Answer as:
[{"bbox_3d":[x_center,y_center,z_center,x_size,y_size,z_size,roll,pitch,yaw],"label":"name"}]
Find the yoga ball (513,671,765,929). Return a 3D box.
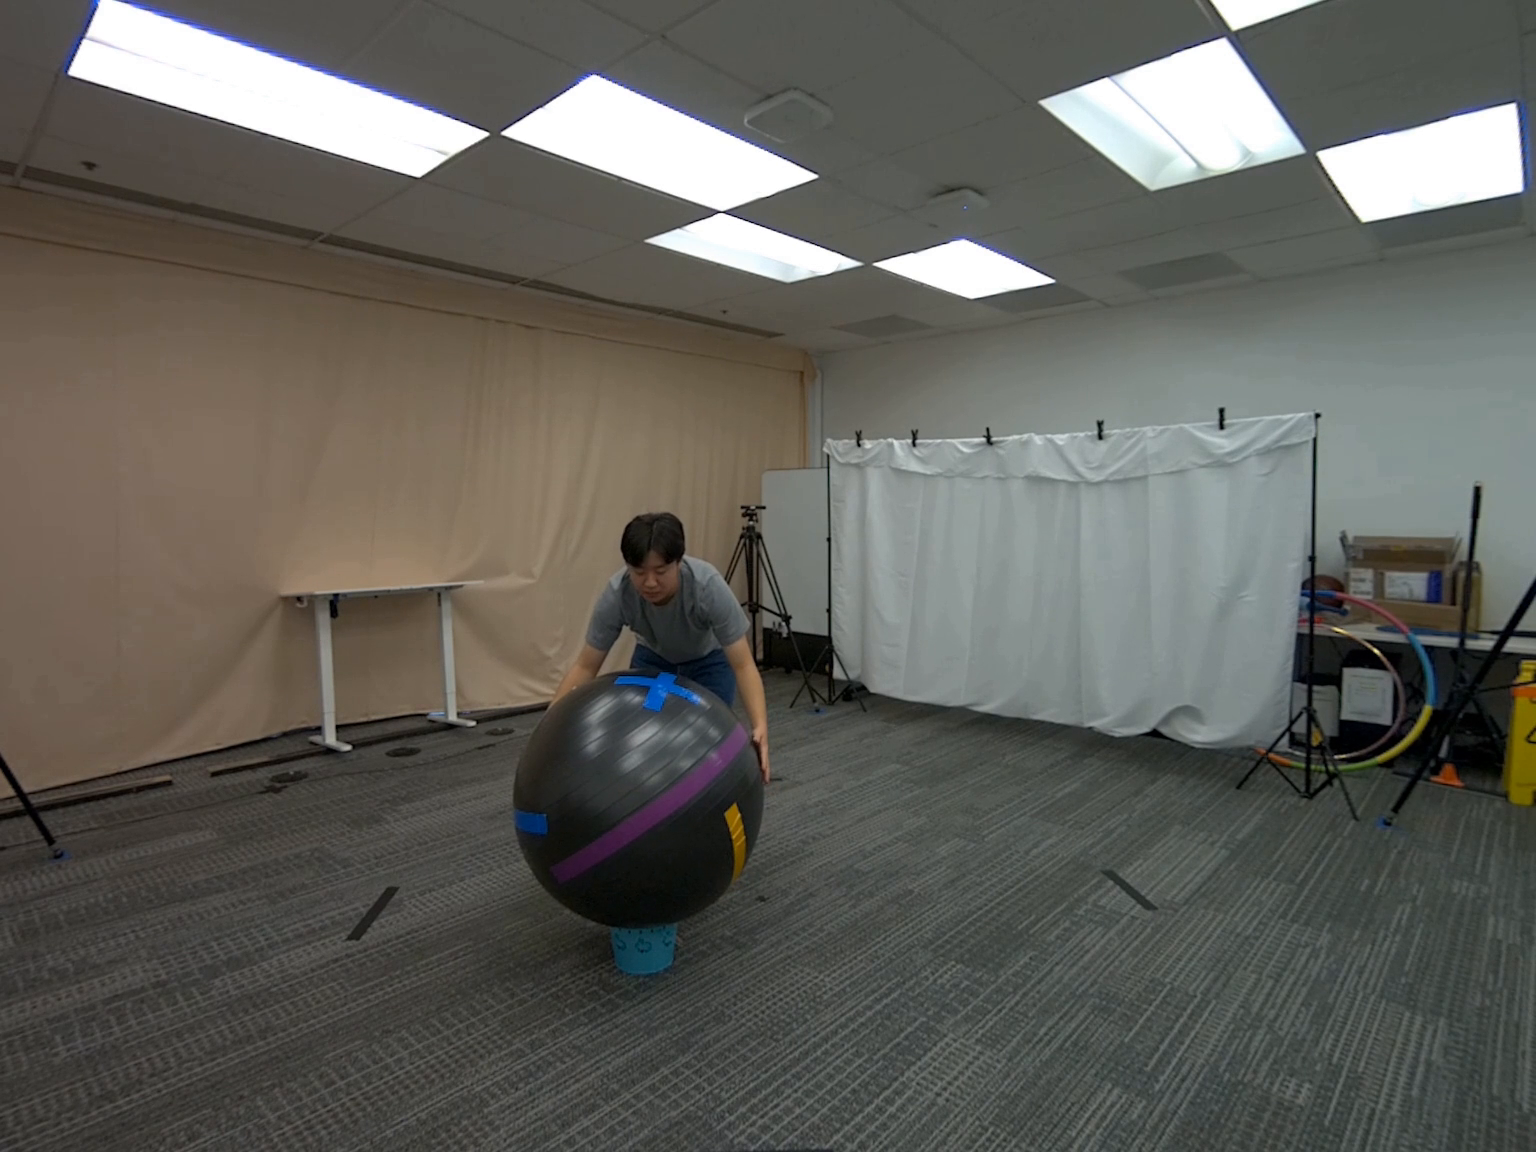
[{"bbox_3d":[-0.398,0.677,2.570,0.757,0.756,0.761,0,4,-2],"label":"yoga ball"}]
